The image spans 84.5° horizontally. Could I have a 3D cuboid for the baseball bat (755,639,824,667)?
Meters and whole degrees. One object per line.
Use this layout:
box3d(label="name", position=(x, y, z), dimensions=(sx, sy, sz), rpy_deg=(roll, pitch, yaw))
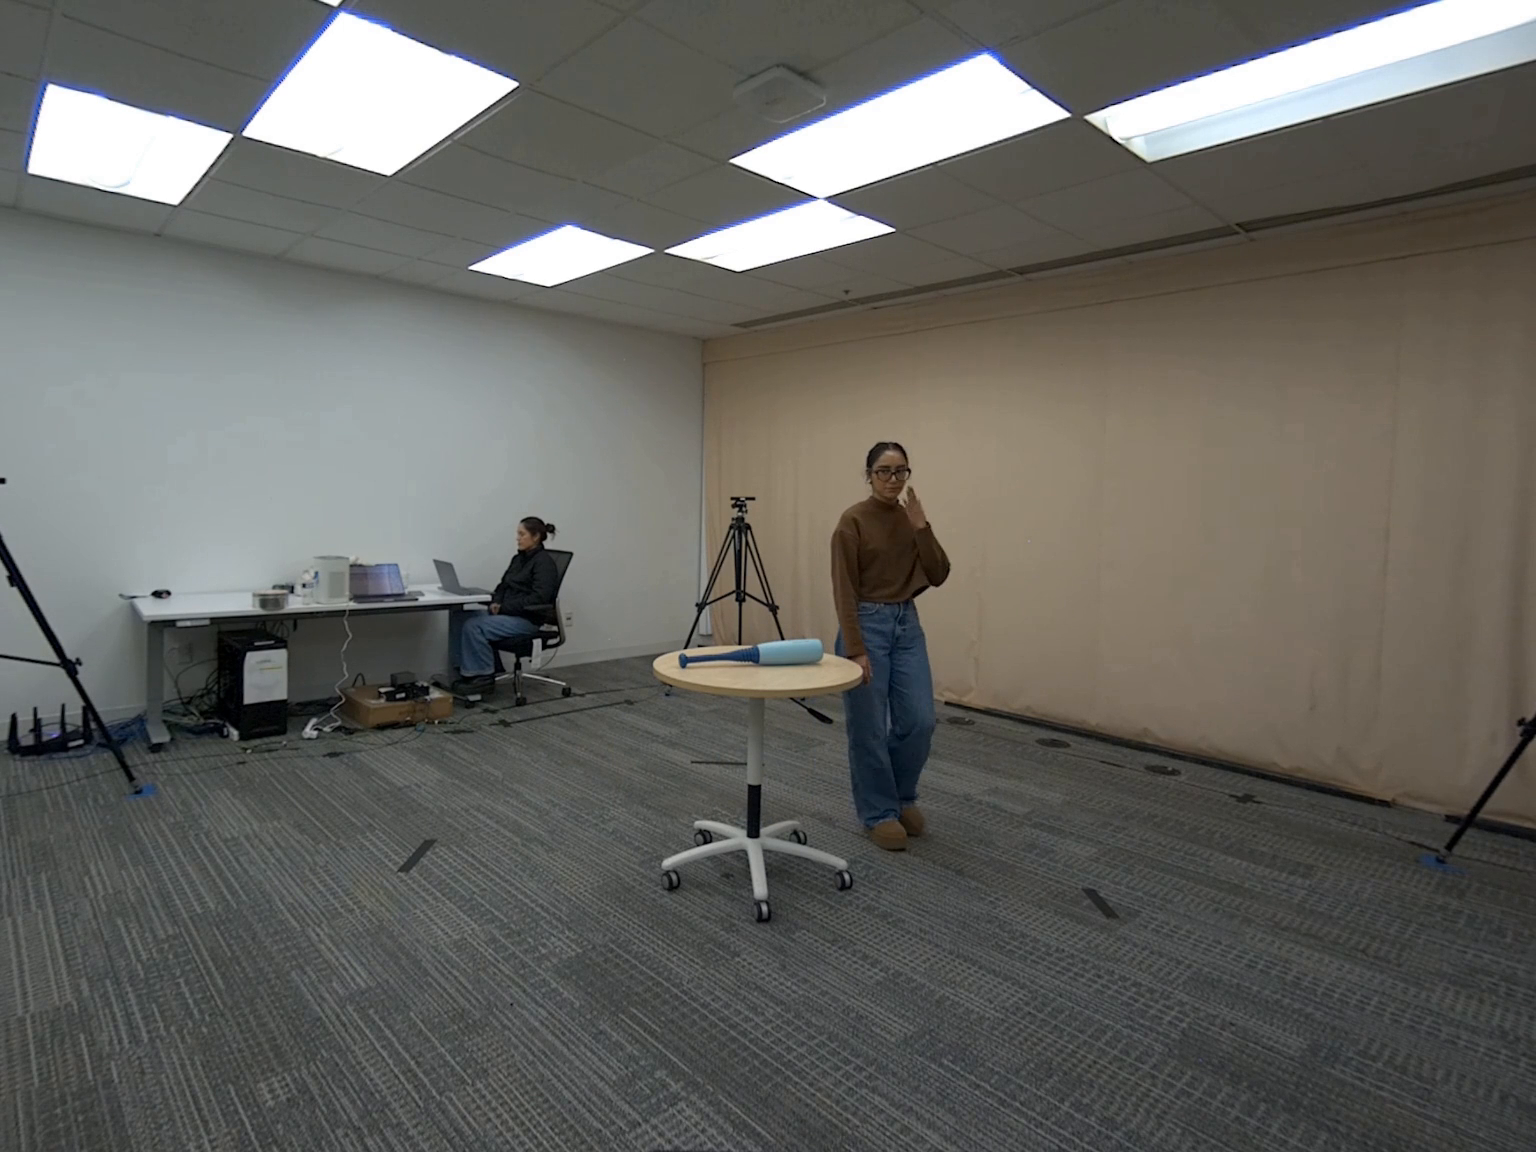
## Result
box3d(label="baseball bat", position=(-0.059, 0.293, 3.074), dimensions=(0.536, 0.089, 0.090), rpy_deg=(-3, 5, -16))
